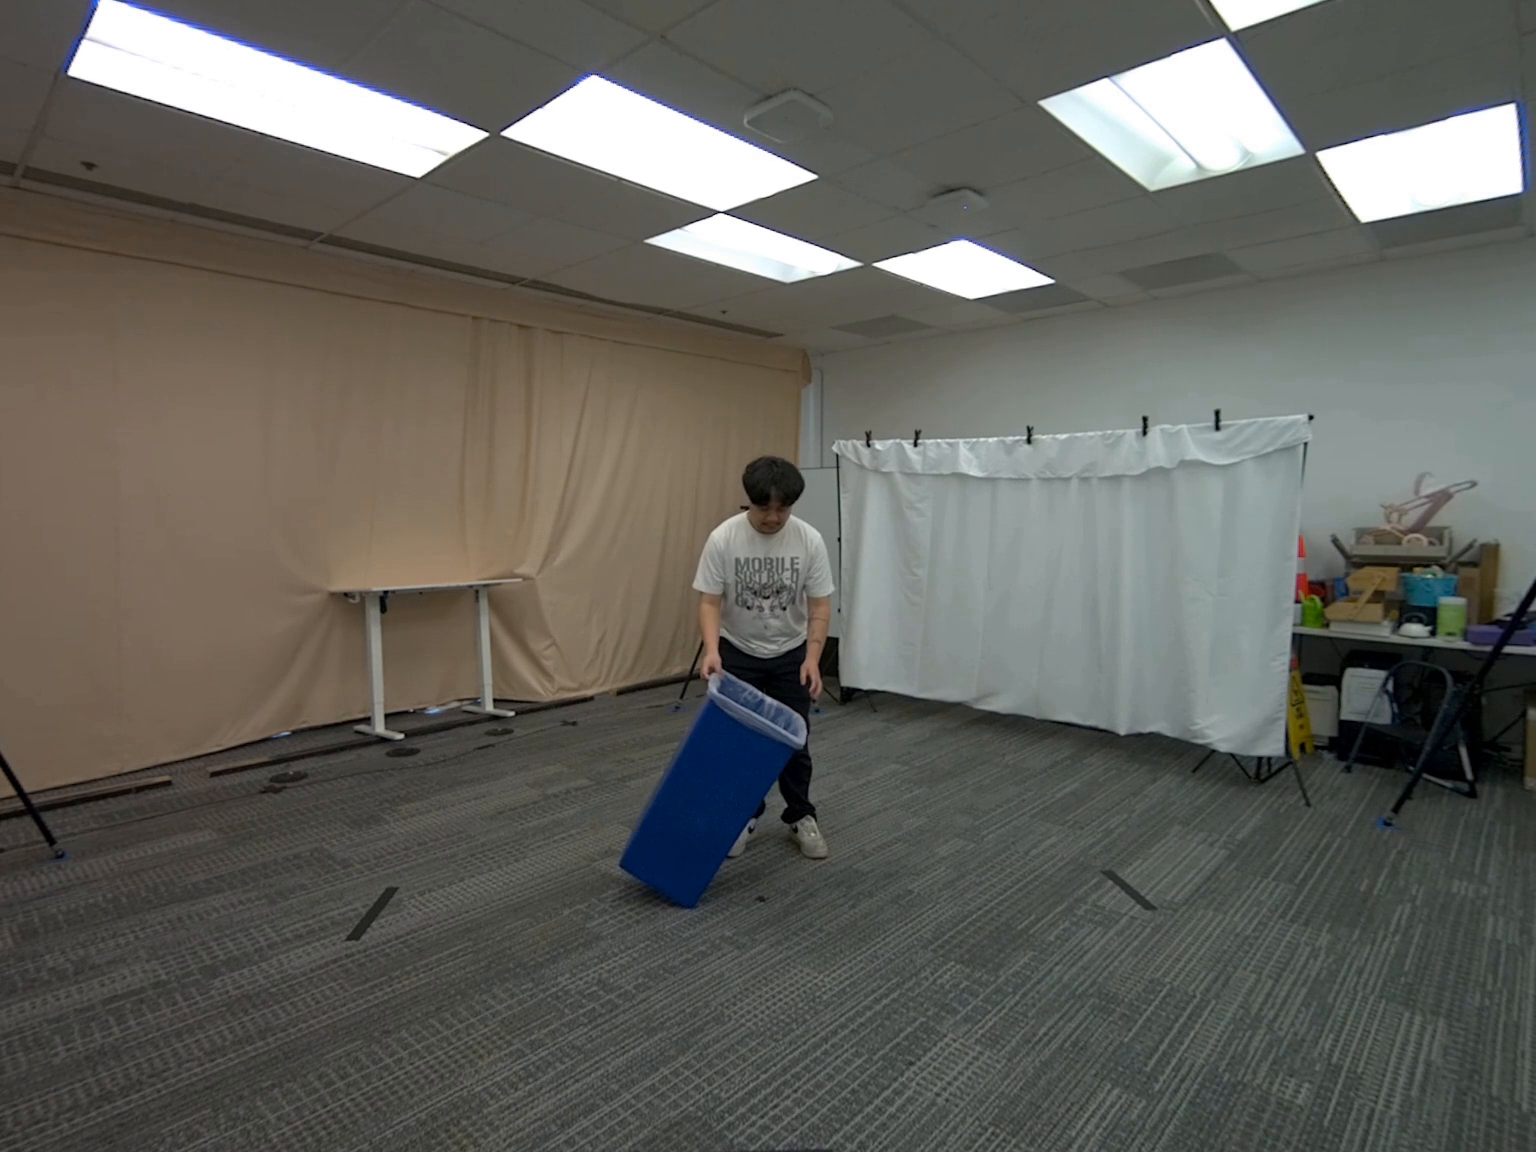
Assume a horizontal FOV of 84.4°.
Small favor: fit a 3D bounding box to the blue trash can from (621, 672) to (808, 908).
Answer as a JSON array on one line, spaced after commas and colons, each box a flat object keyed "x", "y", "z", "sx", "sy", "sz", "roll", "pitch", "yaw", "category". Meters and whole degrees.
[{"x": -0.207, "y": 0.761, "z": 3.016, "sx": 0.378, "sy": 0.713, "sz": 0.374, "roll": 29, "pitch": 5, "yaw": 0, "category": "blue trash can"}]
